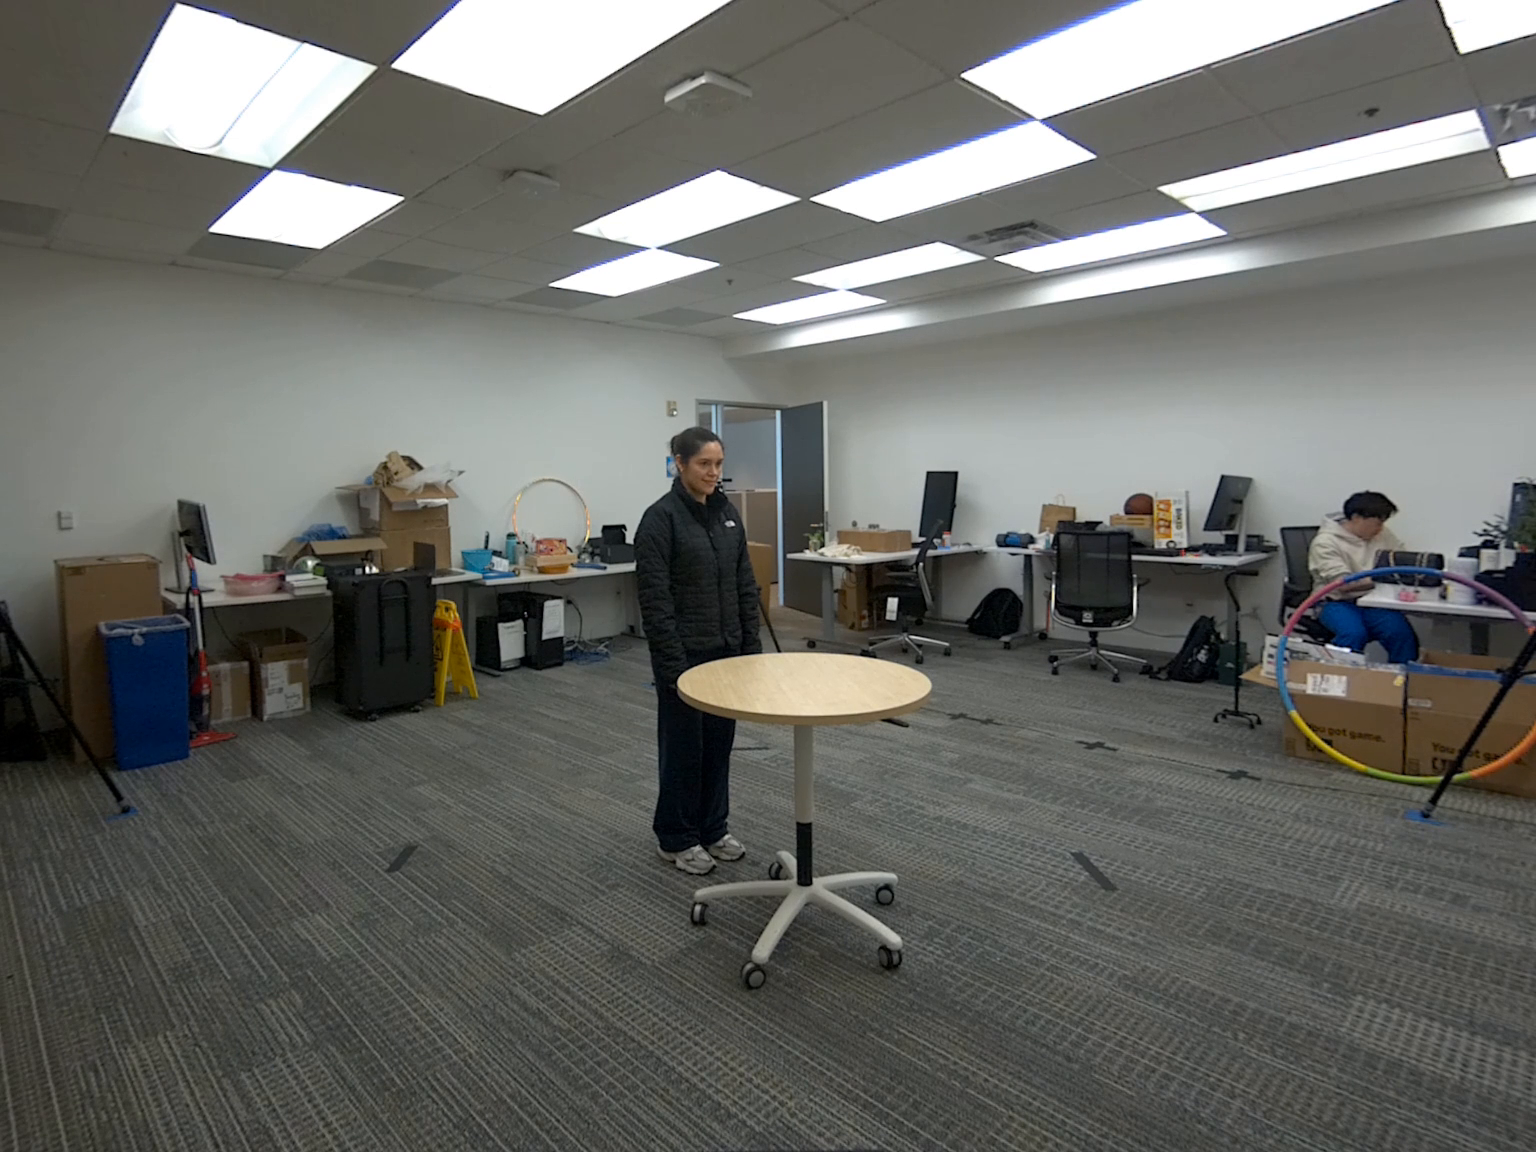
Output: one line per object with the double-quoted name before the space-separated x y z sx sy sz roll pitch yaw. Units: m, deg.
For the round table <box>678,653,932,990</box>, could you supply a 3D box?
"round table" 0.114 0.702 2.657 0.784 0.783 0.790 -1 6 -2
